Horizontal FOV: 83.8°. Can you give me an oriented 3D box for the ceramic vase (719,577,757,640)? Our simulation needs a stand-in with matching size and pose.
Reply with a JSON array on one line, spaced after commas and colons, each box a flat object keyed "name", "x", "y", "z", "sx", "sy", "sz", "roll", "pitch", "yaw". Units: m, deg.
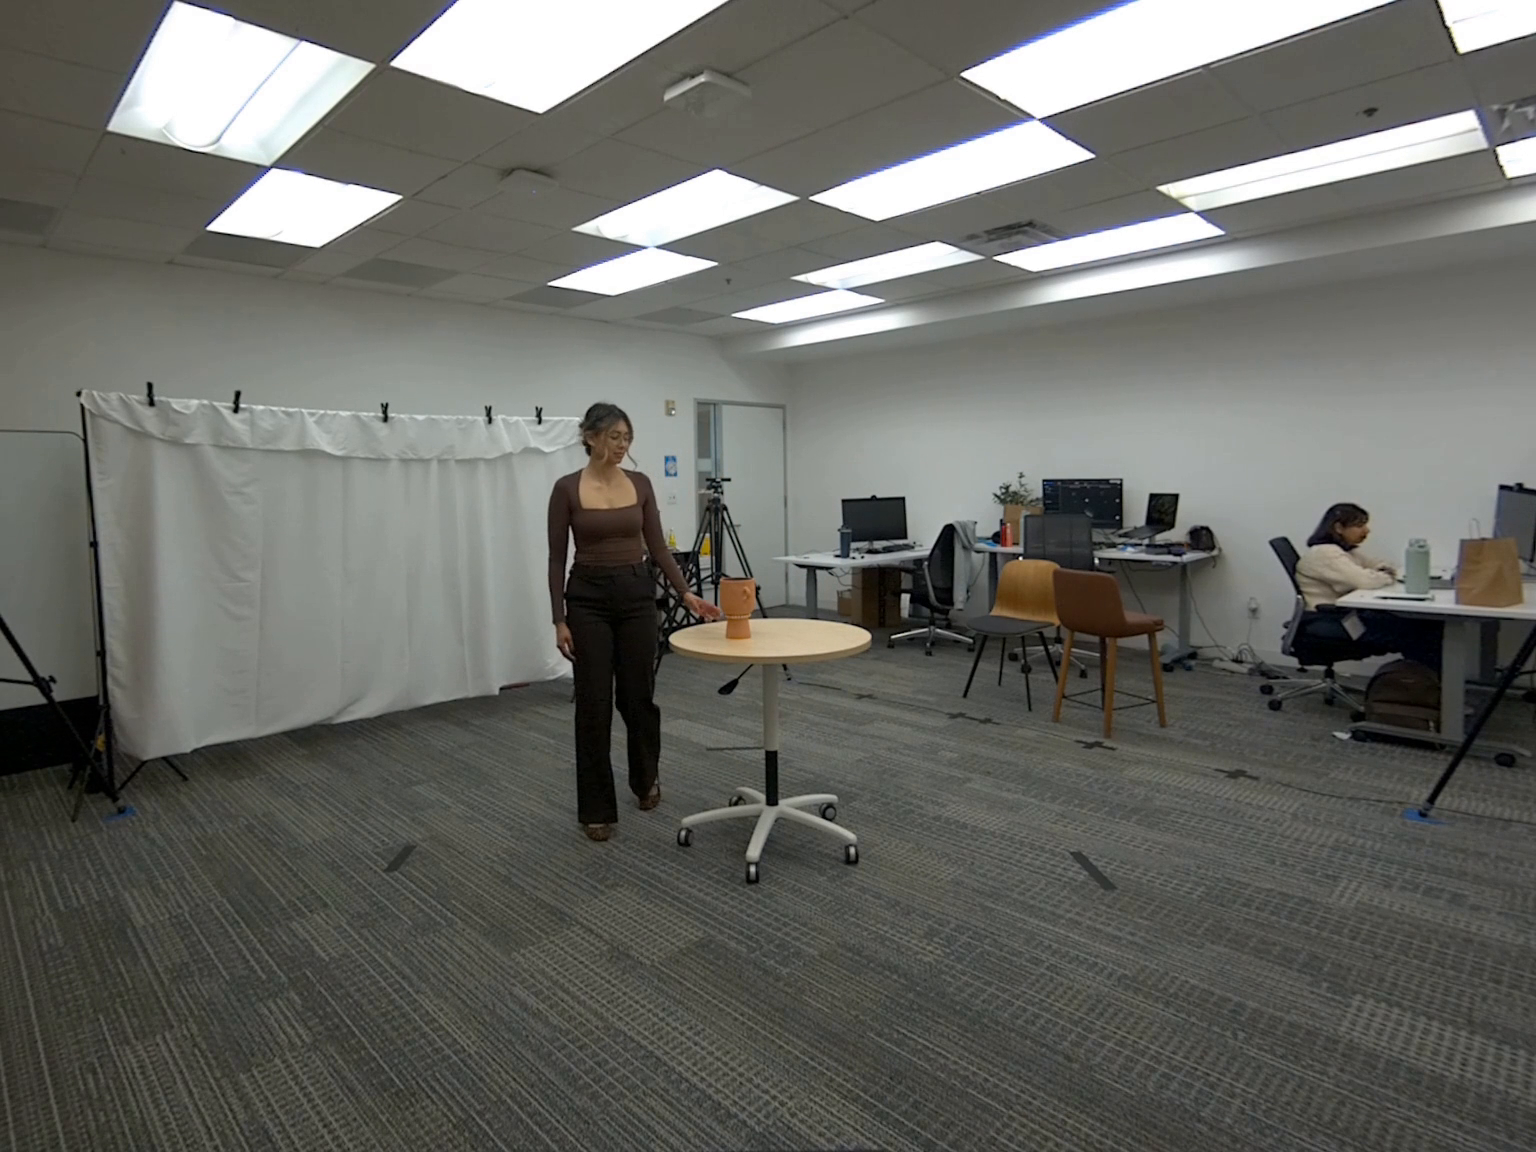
[{"name": "ceramic vase", "x": -0.117, "y": 0.123, "z": 3.235, "sx": 0.136, "sy": 0.219, "sz": 0.157, "roll": -2, "pitch": 3, "yaw": 14}]
